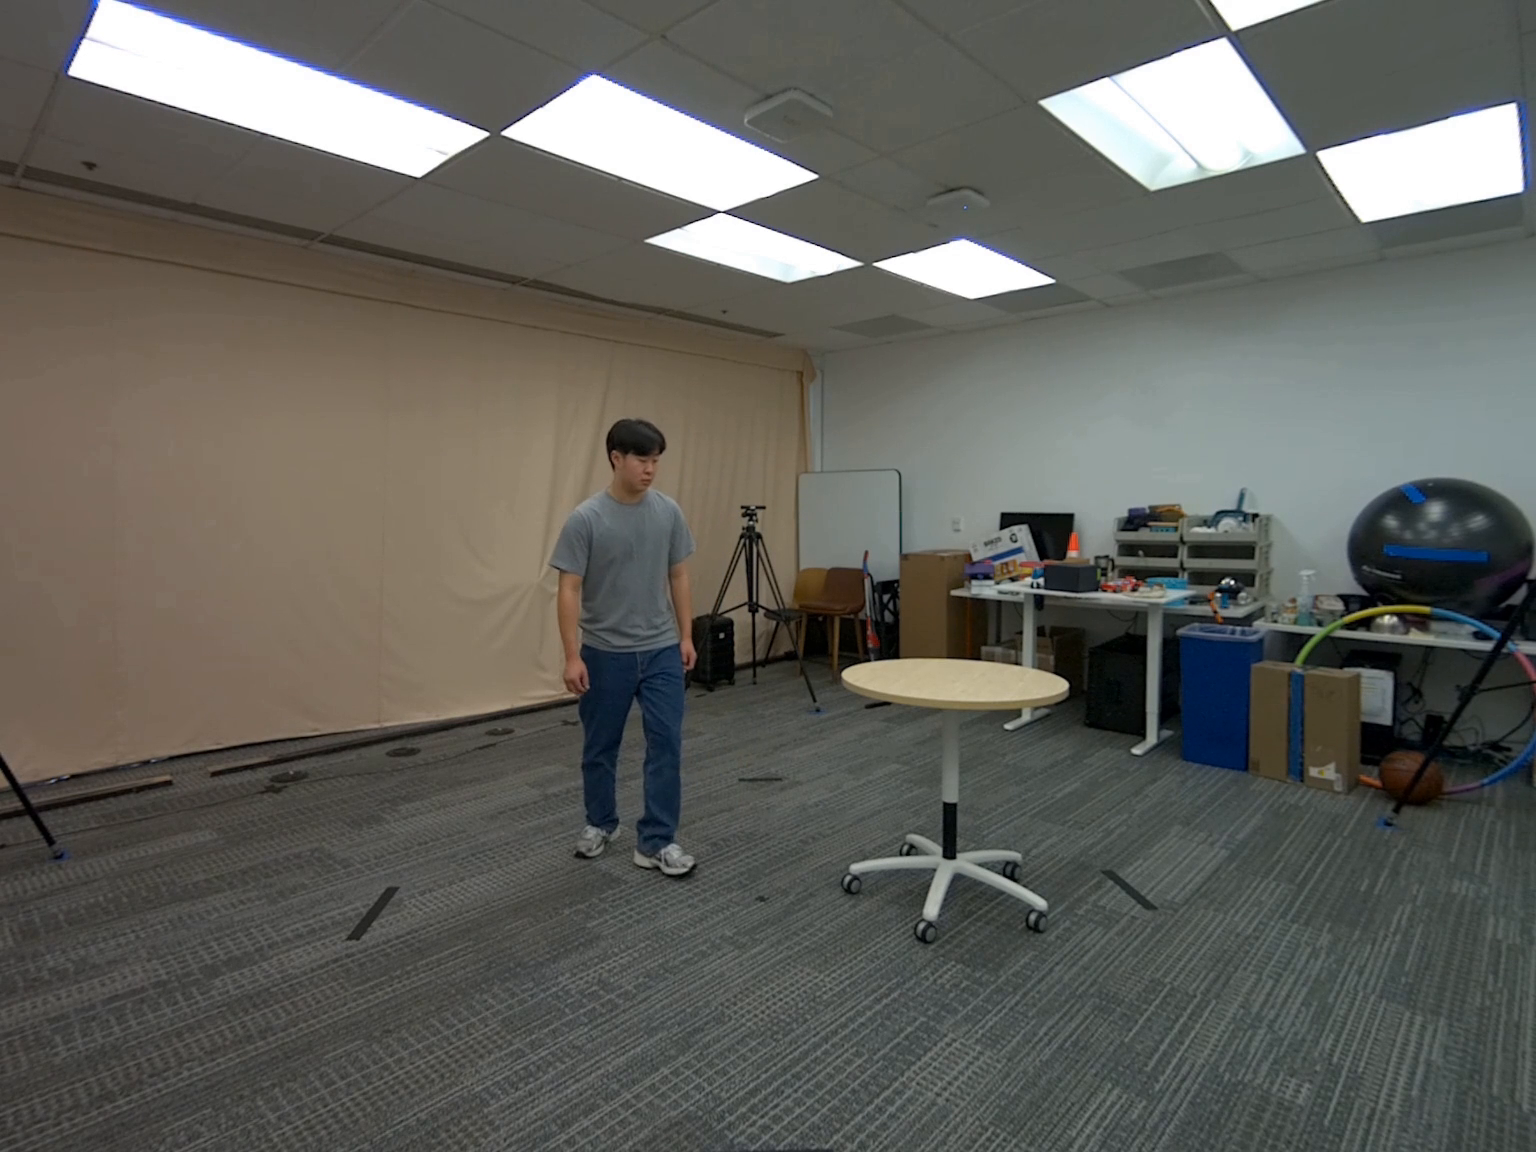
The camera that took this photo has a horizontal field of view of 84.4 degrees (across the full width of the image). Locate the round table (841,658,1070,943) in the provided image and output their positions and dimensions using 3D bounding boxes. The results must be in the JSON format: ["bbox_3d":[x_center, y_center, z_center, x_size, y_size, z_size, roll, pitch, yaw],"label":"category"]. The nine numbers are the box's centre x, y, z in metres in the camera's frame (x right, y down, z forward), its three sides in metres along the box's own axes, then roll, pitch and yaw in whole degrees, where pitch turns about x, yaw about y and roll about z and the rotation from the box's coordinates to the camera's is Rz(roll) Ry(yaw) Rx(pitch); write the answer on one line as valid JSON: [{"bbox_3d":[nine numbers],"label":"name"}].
[{"bbox_3d":[0.650,0.755,2.980,0.763,0.792,0.766,0,3,-2],"label":"round table"}]
